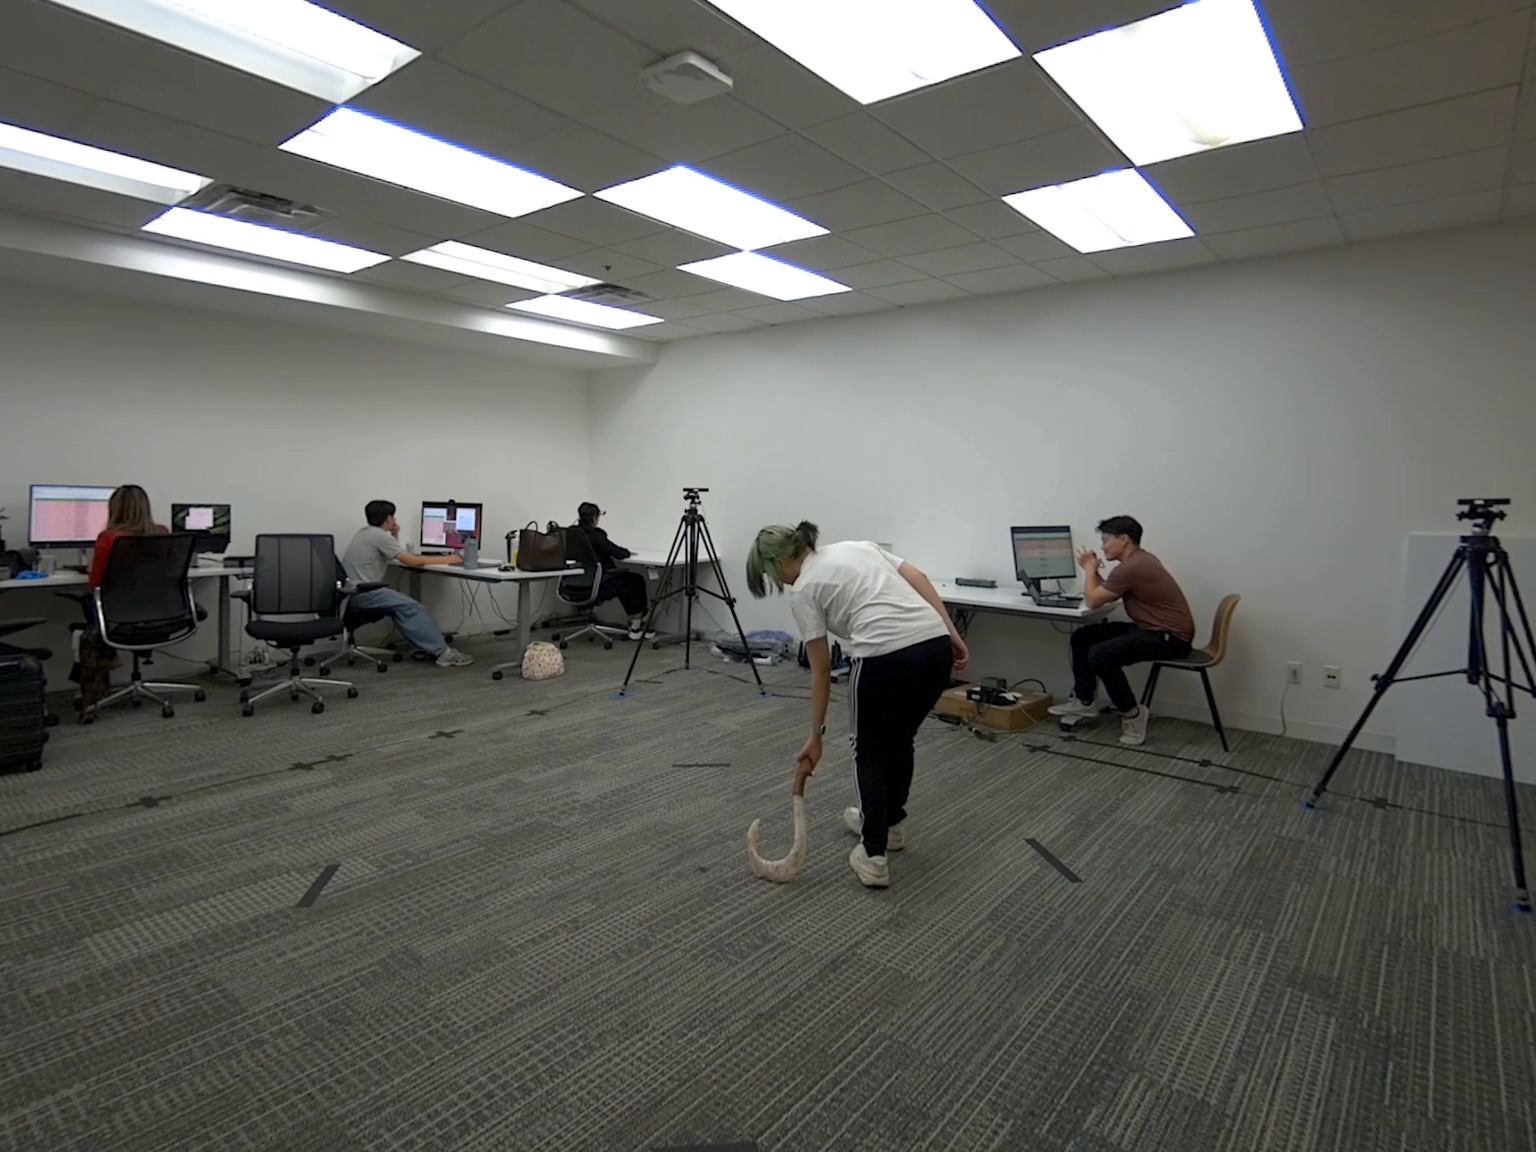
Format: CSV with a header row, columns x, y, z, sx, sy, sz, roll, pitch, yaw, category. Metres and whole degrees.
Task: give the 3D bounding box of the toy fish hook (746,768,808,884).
x,y,z,sx,sy,sz,roll,pitch,yaw,category
0.054,0.859,3.138,0.230,0.513,0.046,8,-27,20,toy fish hook
